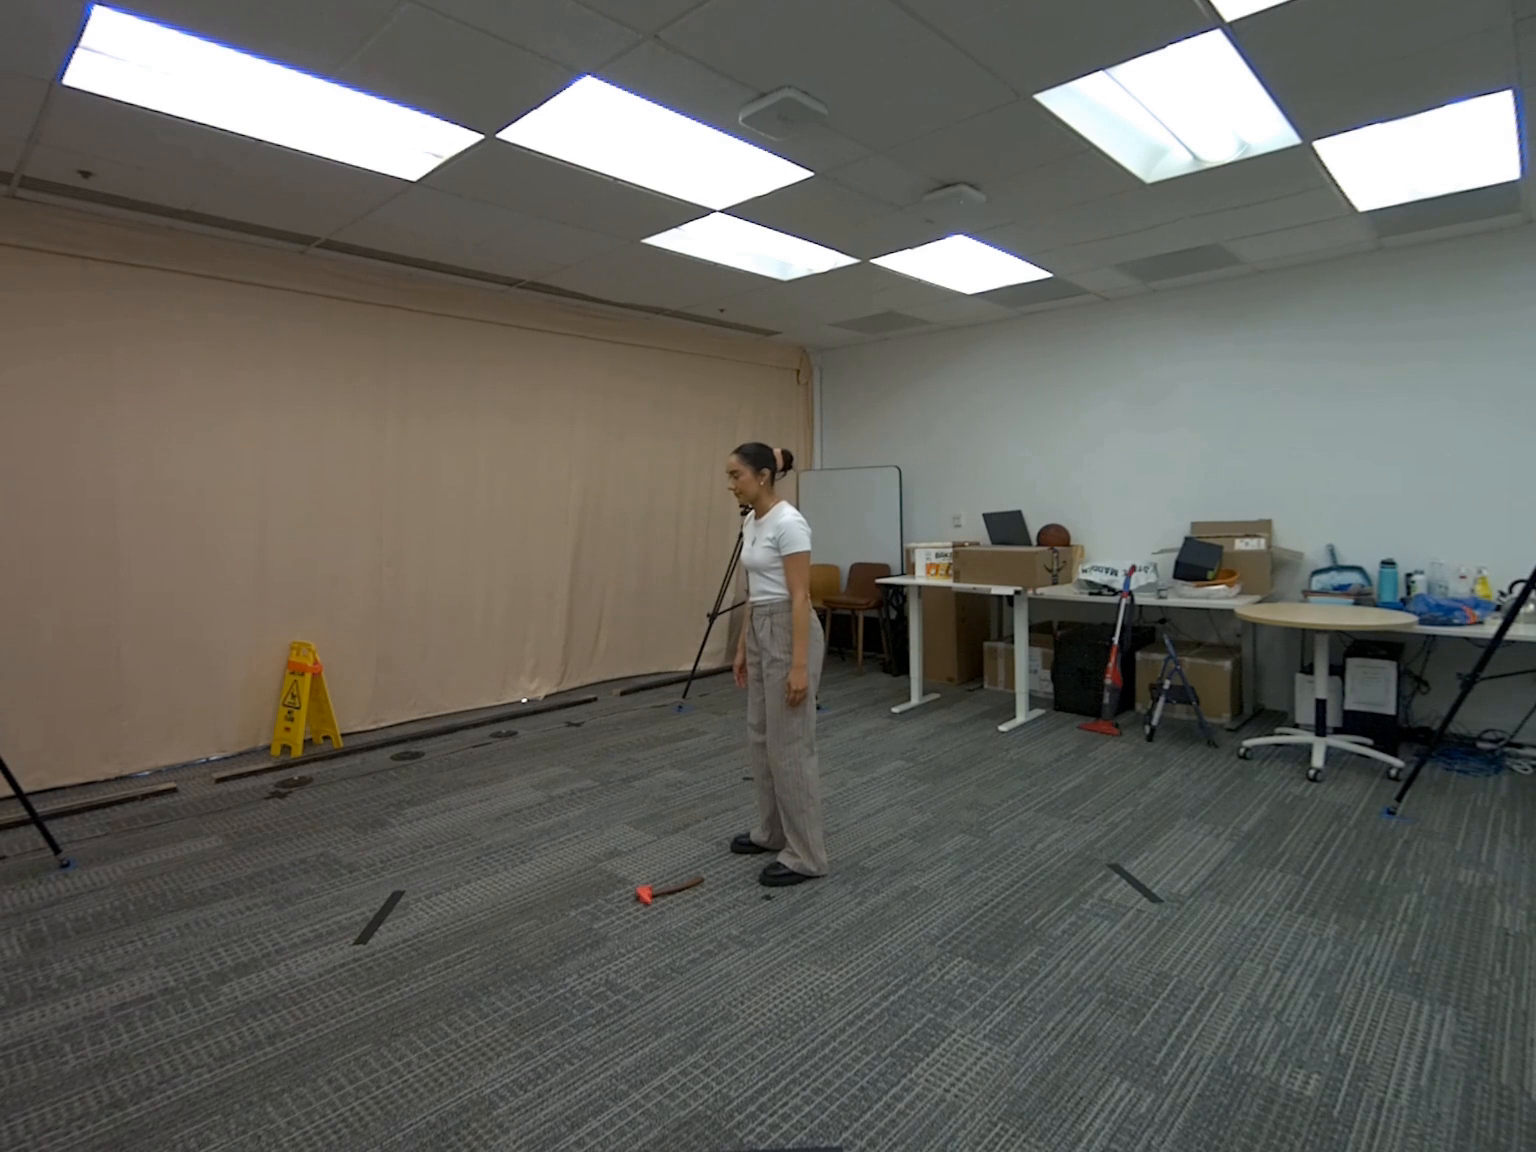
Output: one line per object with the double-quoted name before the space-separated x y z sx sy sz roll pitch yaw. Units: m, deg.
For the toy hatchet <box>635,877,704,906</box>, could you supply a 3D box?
"toy hatchet" -0.372 1.130 3.058 0.262 0.029 0.135 -4 3 -43
